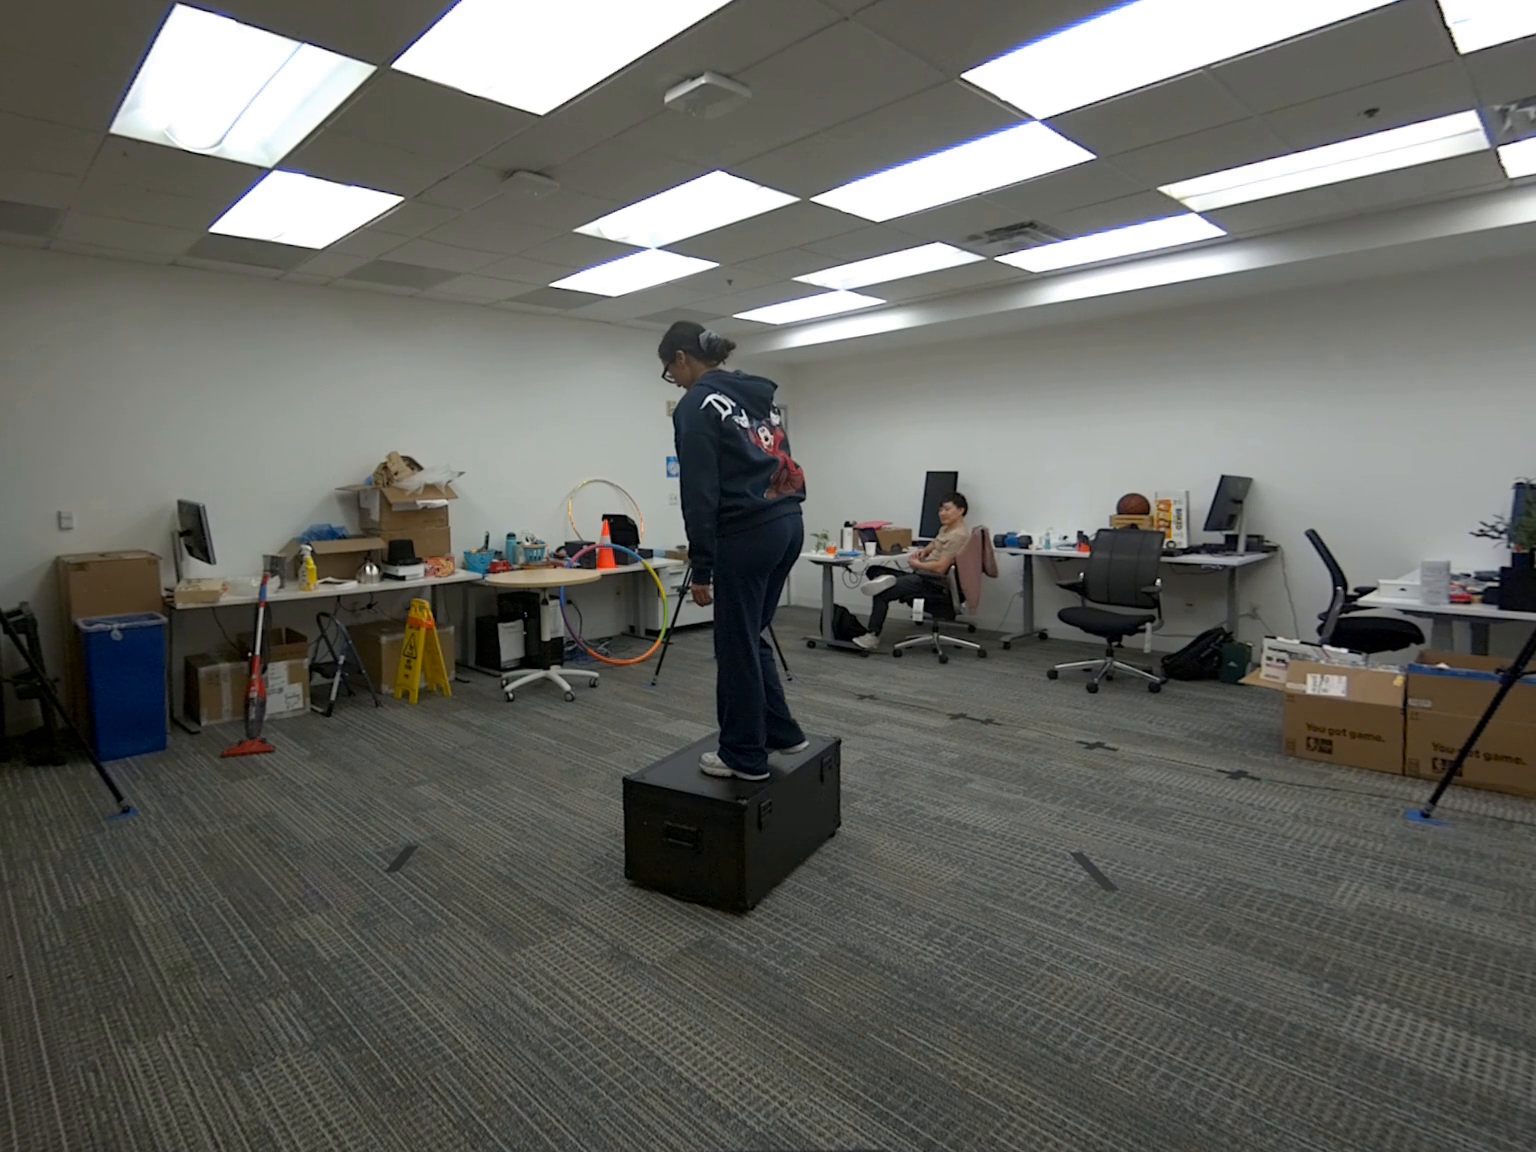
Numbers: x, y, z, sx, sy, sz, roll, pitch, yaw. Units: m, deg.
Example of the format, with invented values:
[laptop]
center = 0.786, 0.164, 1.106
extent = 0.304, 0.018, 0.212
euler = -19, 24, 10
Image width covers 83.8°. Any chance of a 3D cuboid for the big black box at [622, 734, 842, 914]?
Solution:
[big black box]
center = -0.084, 0.848, 3.180
extent = 0.534, 0.394, 0.844
euler = 2, 7, 28
